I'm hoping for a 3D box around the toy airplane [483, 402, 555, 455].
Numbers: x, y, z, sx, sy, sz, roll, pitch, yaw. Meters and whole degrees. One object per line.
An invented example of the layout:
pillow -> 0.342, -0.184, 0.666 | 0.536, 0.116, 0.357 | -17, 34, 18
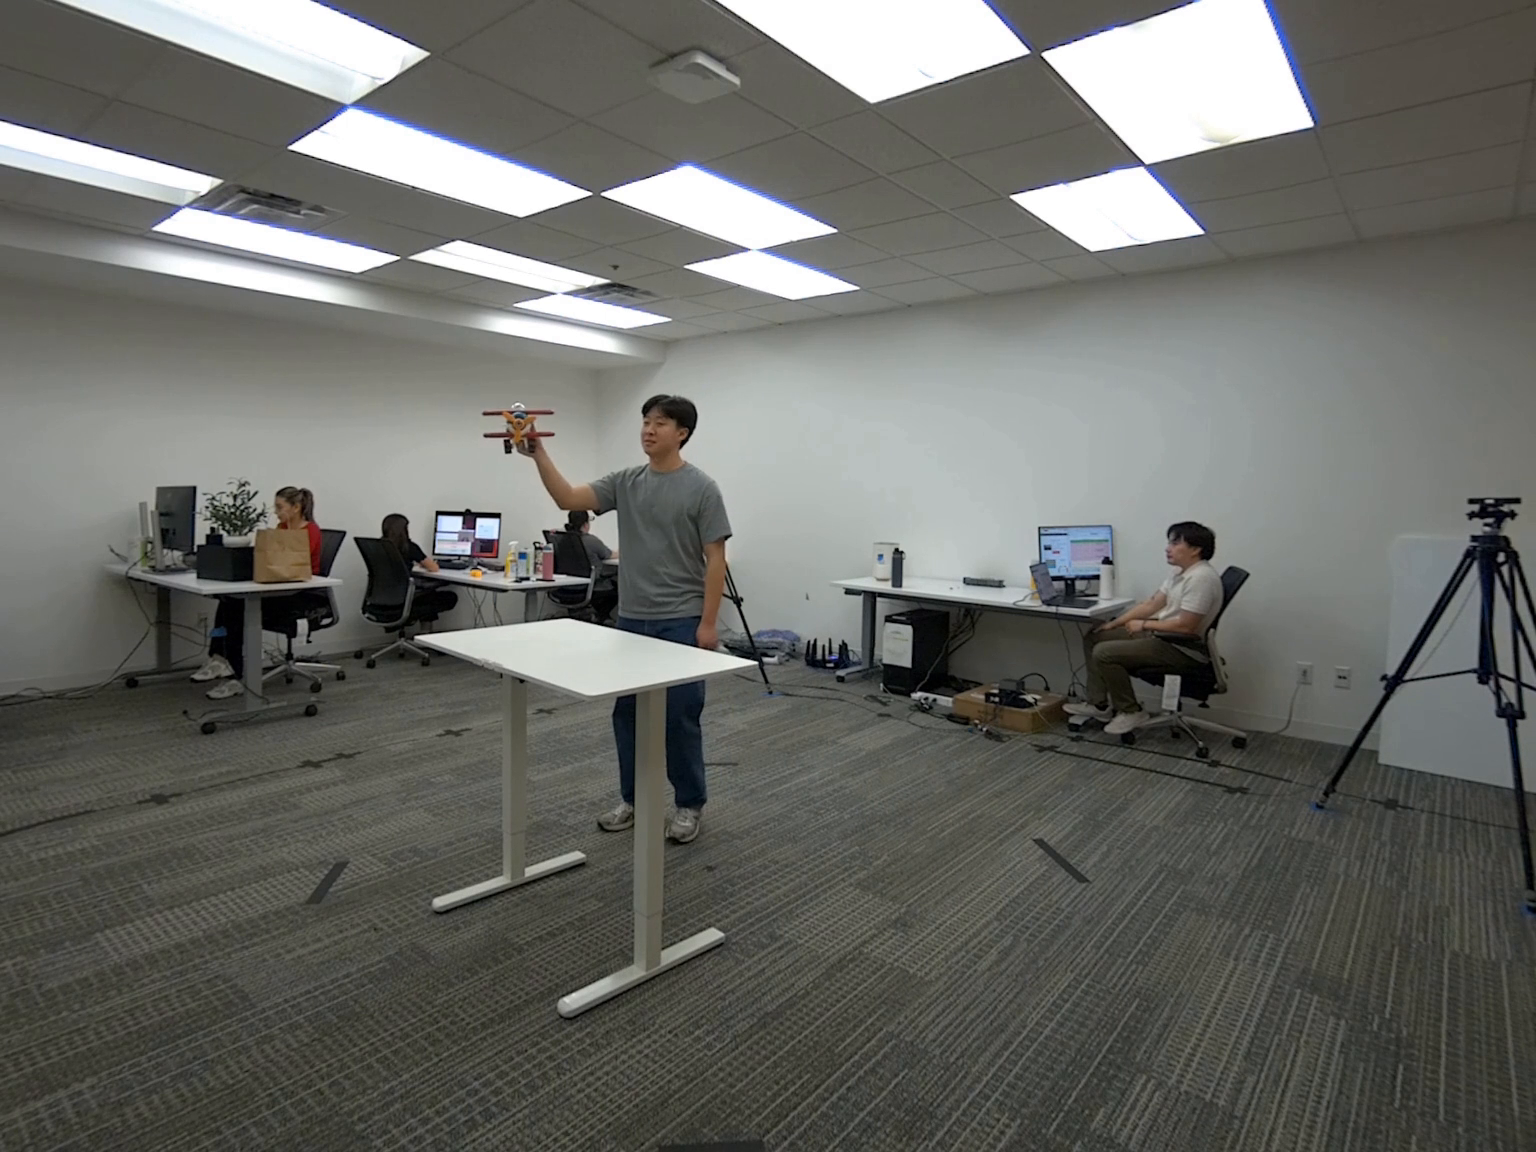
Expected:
toy airplane -> -0.938, -0.550, 3.129 | 0.246, 0.153, 0.270 | -18, 31, -40
